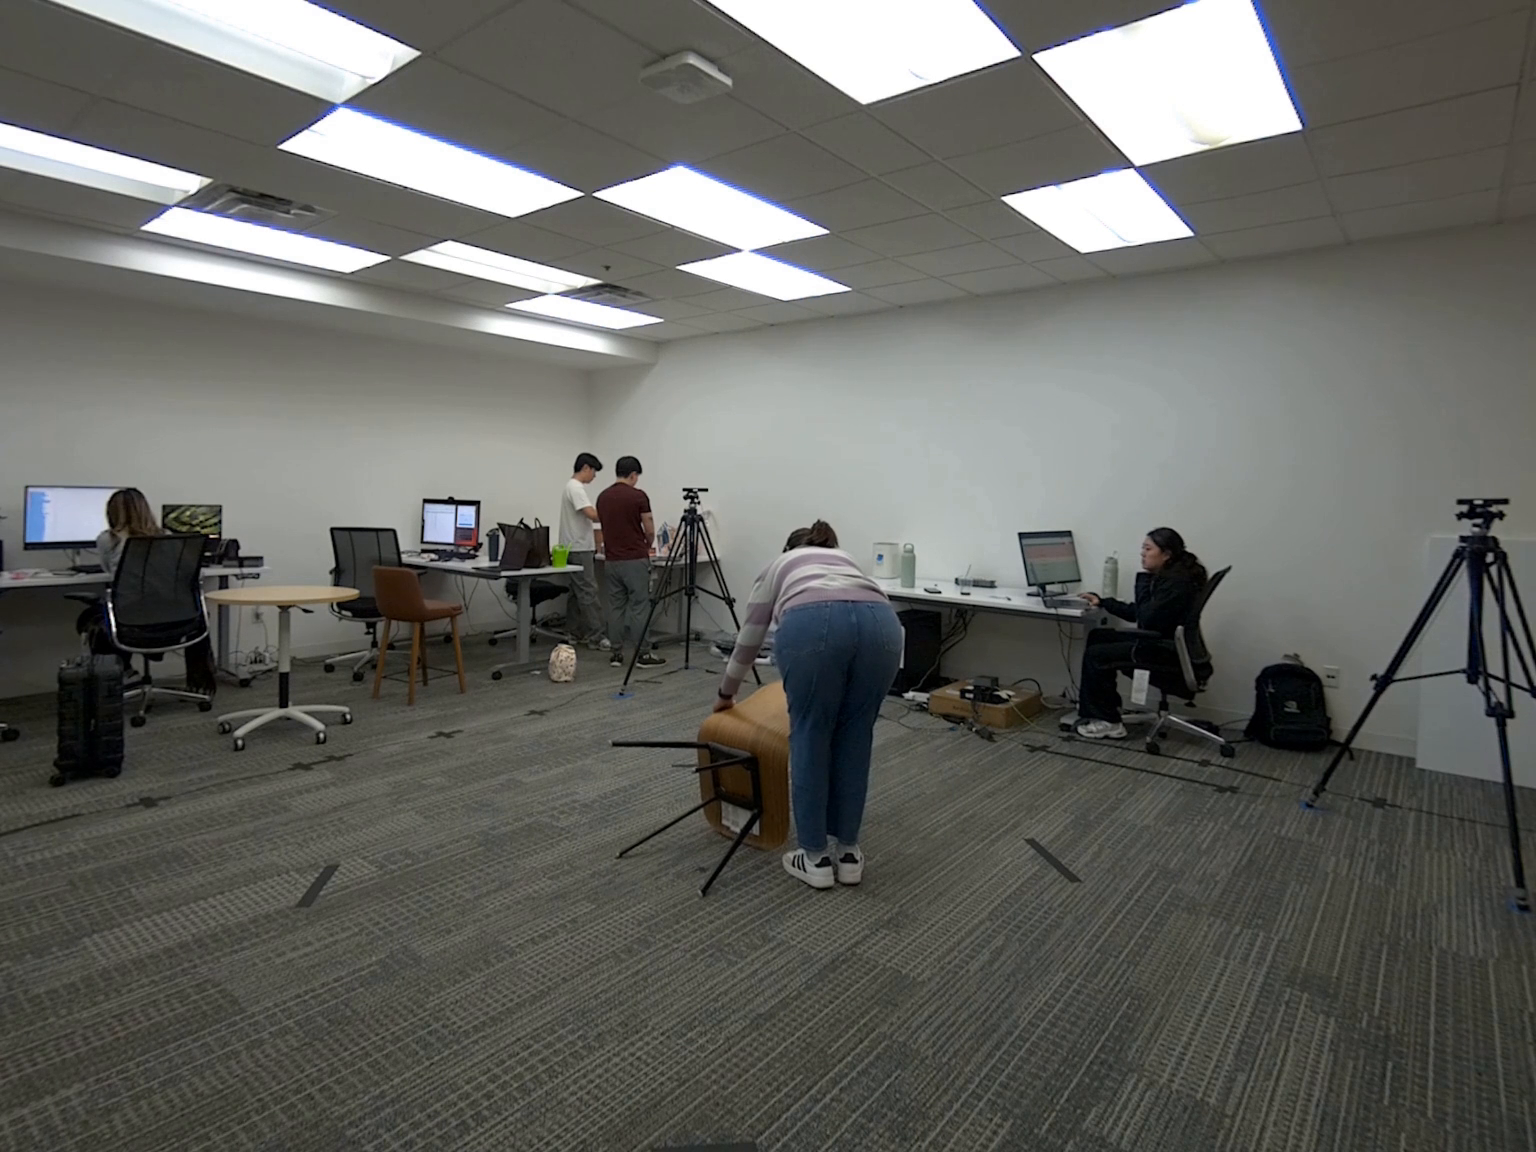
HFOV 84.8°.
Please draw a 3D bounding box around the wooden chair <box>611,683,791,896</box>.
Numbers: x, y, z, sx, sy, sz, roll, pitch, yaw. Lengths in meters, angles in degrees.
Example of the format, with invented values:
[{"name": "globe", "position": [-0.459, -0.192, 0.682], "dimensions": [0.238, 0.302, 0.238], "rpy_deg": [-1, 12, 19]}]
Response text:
[{"name": "wooden chair", "position": [-0.141, 0.780, 3.325], "dimensions": [0.494, 0.517, 0.858], "rpy_deg": [4, 15, 40]}]
